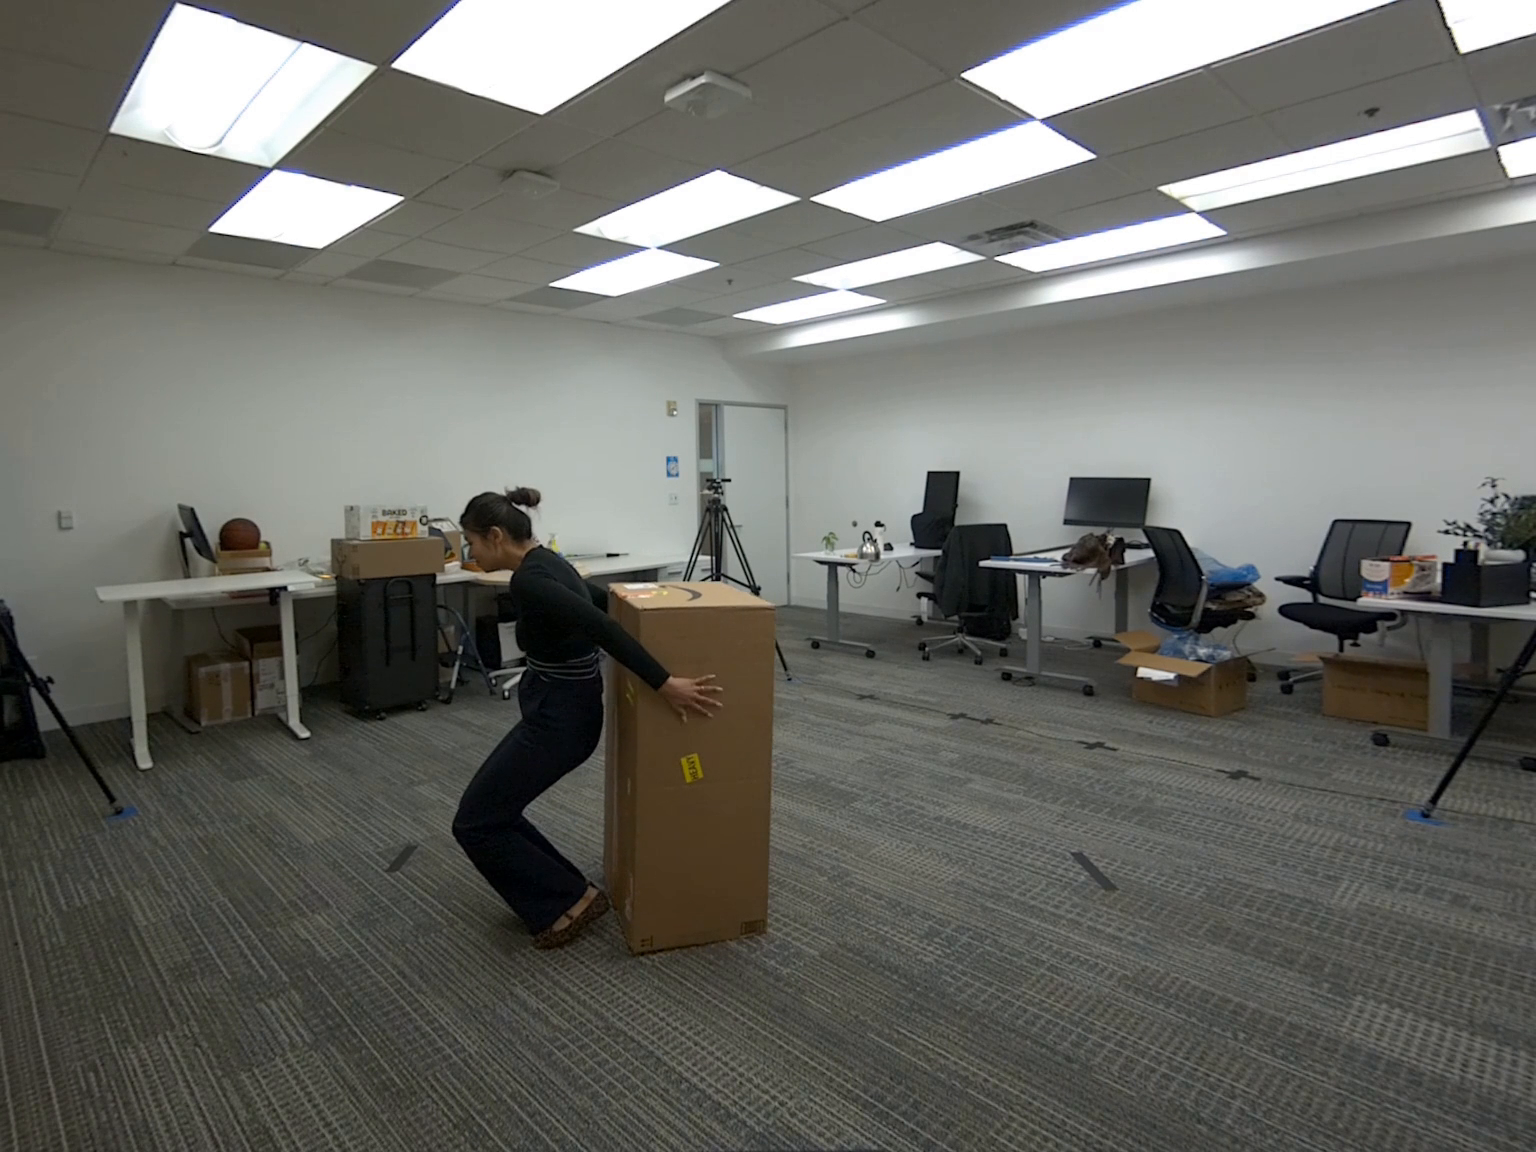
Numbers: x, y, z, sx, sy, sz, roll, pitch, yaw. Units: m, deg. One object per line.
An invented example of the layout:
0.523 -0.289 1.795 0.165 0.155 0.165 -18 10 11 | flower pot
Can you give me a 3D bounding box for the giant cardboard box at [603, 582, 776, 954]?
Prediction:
-0.282 0.568 2.805 0.419 1.022 0.590 0 5 -20 | giant cardboard box
